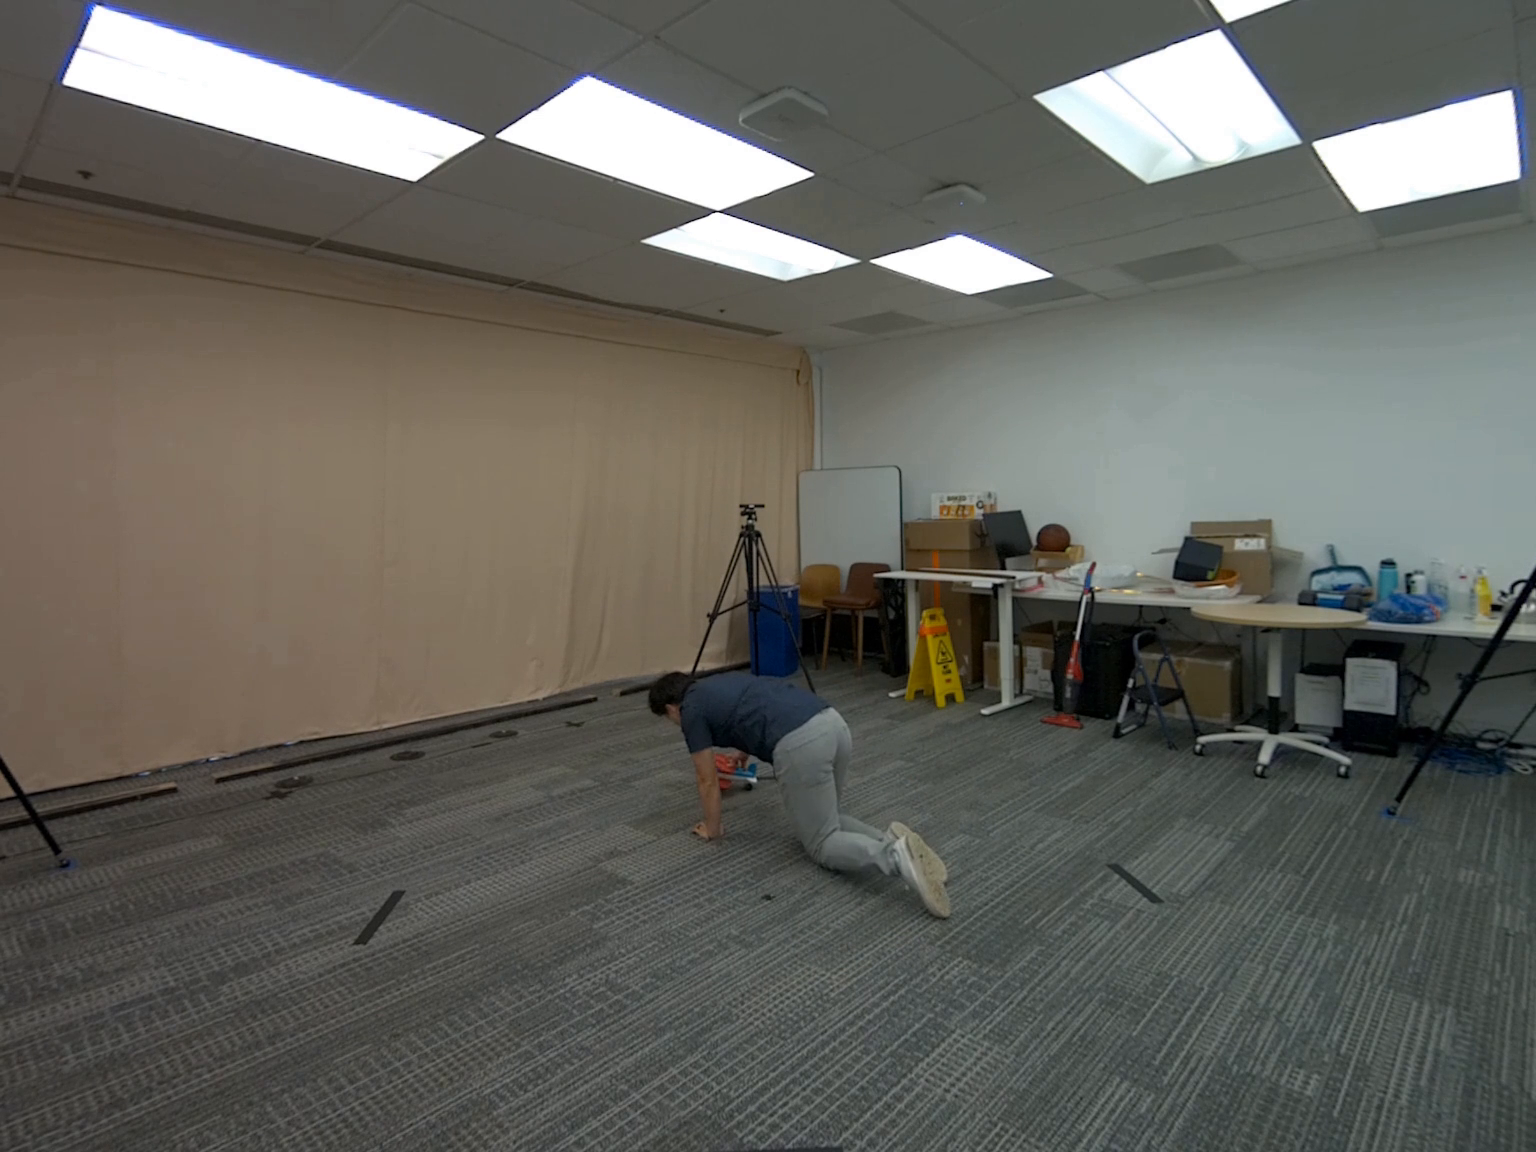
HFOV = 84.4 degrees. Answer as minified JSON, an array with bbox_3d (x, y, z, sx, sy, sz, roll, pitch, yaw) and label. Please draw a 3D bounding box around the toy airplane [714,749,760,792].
[{"bbox_3d":[-0.186,0.976,4.149,0.252,0.156,0.259,-4,5,-34],"label":"toy airplane"}]
